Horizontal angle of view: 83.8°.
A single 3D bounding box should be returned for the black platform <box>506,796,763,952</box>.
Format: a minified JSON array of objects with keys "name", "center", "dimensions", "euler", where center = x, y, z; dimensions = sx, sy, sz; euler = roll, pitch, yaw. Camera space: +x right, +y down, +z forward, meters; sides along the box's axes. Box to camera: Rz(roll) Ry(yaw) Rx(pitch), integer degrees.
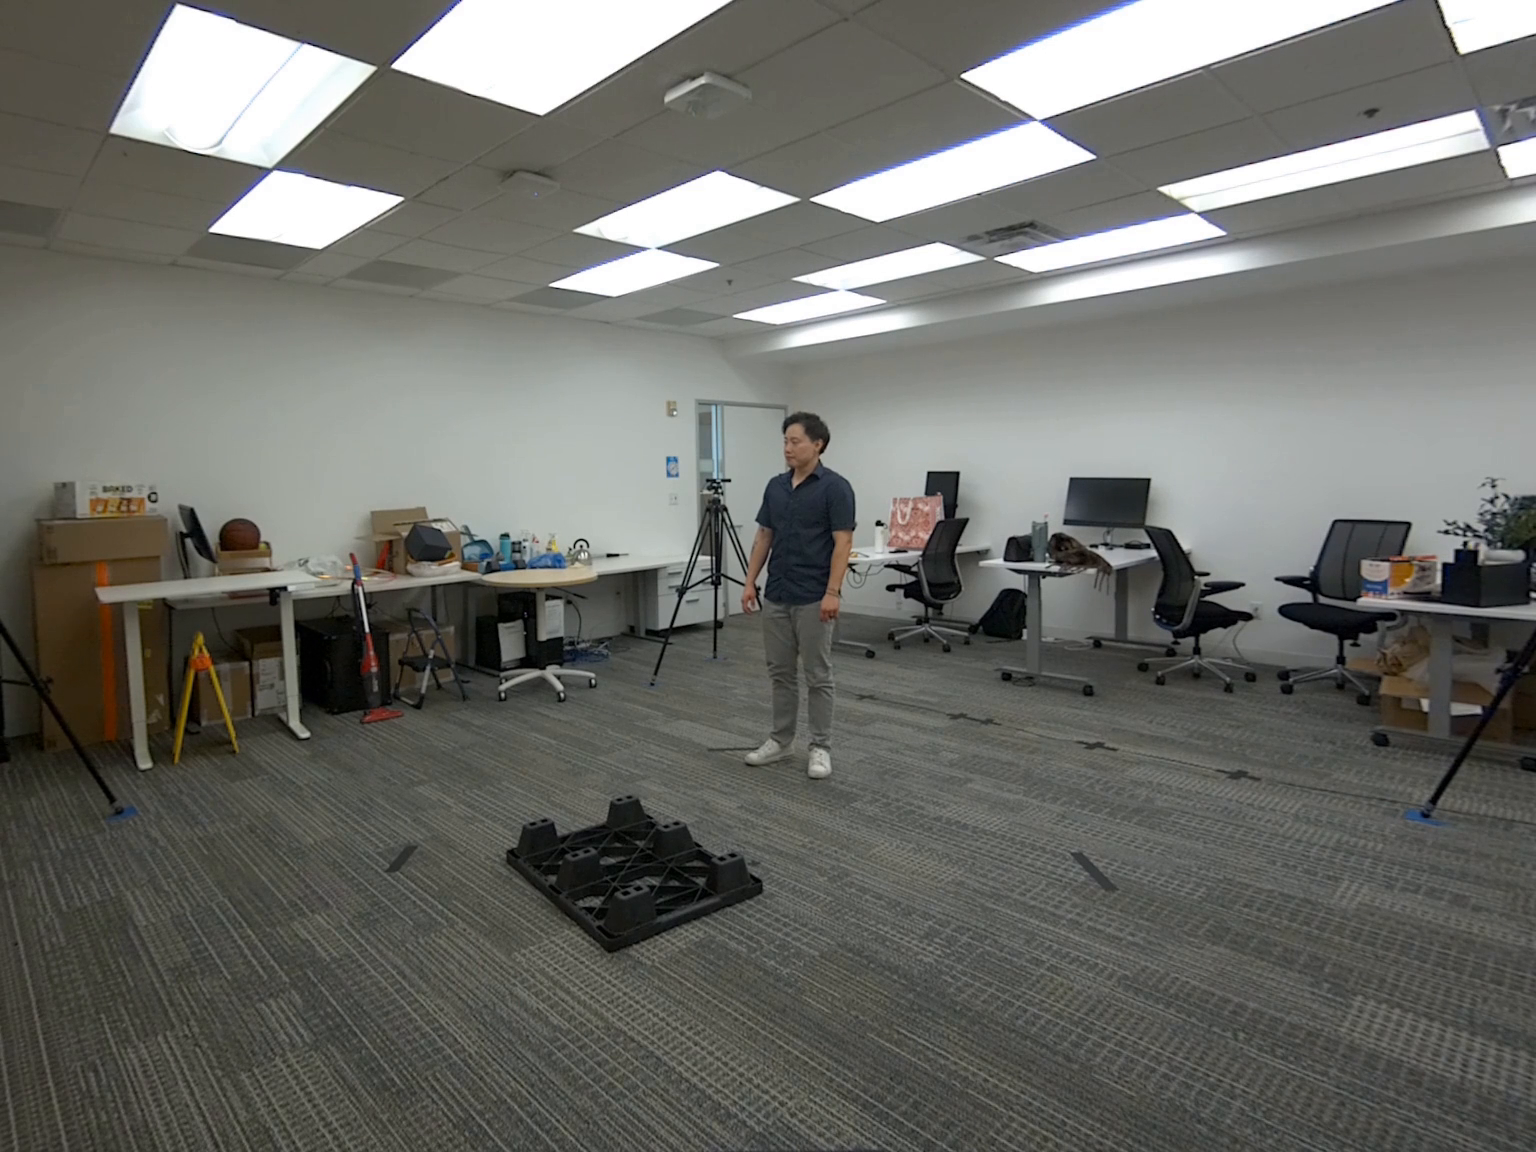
[{"name":"black platform","center":[-0.496,0.997,3.021],"dimensions":[0.589,0.143,0.830],"euler":[-6,8,-38]}]
